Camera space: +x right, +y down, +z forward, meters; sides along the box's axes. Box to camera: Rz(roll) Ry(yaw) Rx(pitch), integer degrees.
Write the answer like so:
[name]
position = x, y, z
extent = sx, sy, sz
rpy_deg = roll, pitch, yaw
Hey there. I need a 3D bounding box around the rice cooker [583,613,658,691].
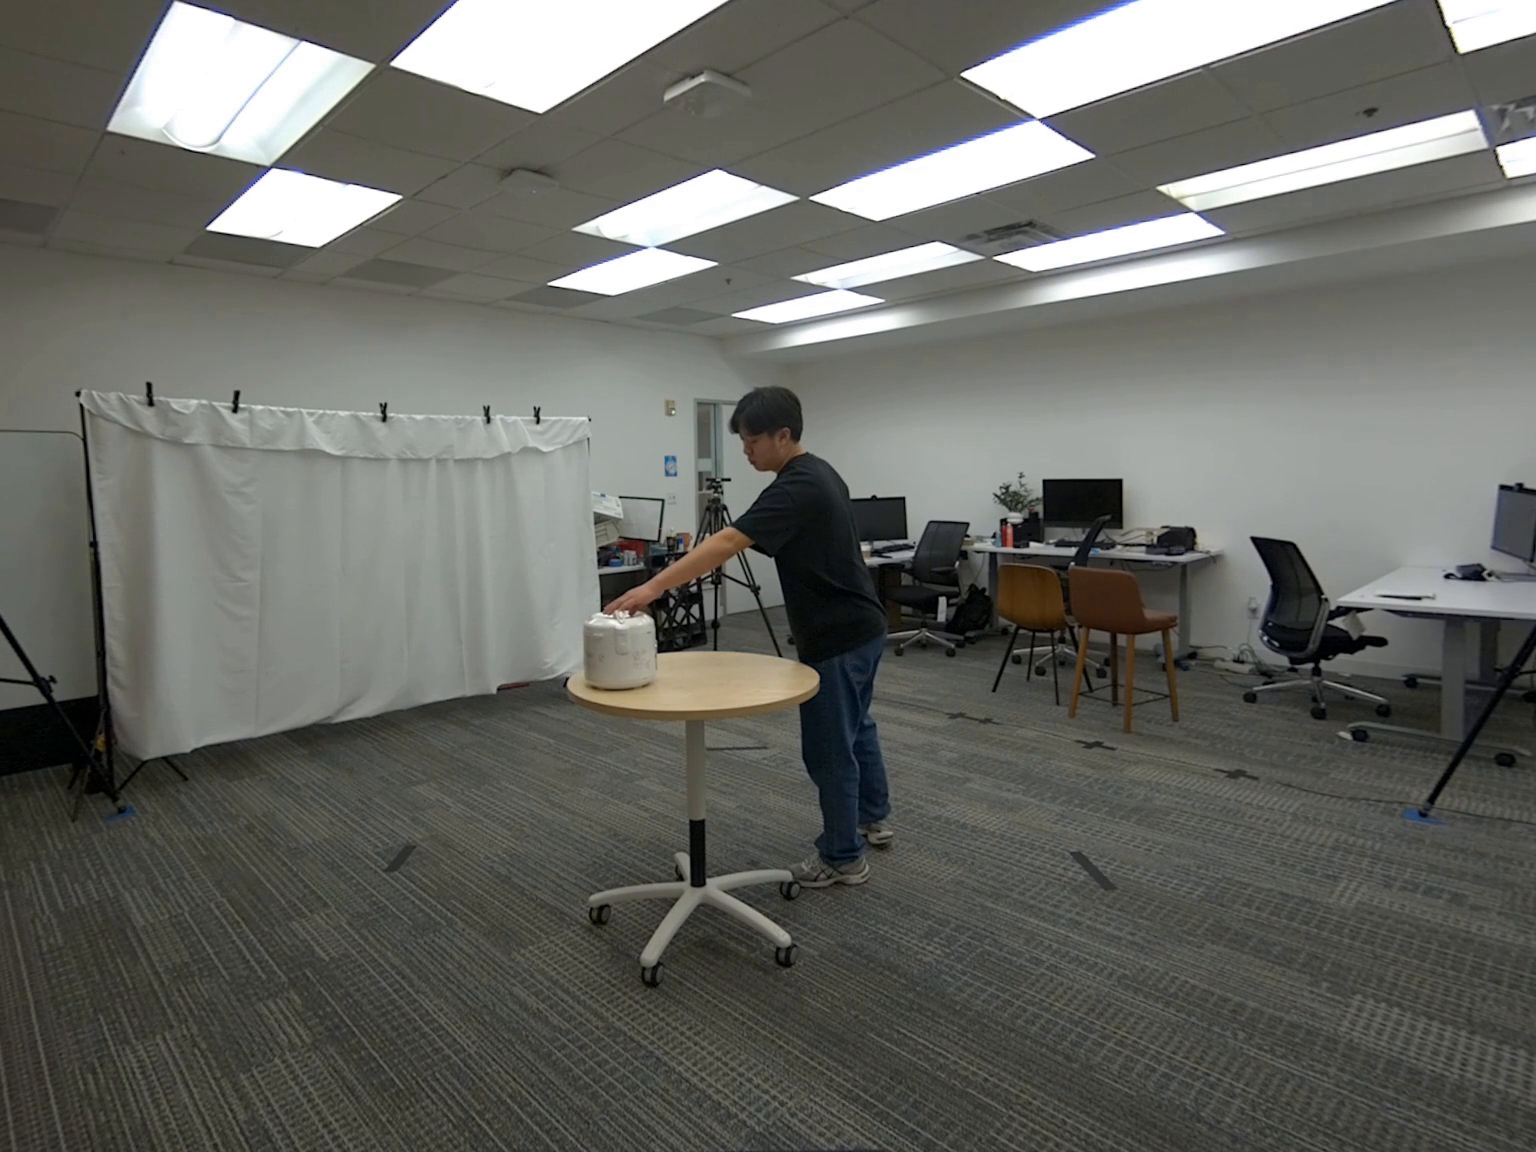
[rice cooker]
position = -0.436, 0.205, 2.534
extent = 0.215, 0.232, 0.224
rpy_deg = -2, 6, -13
